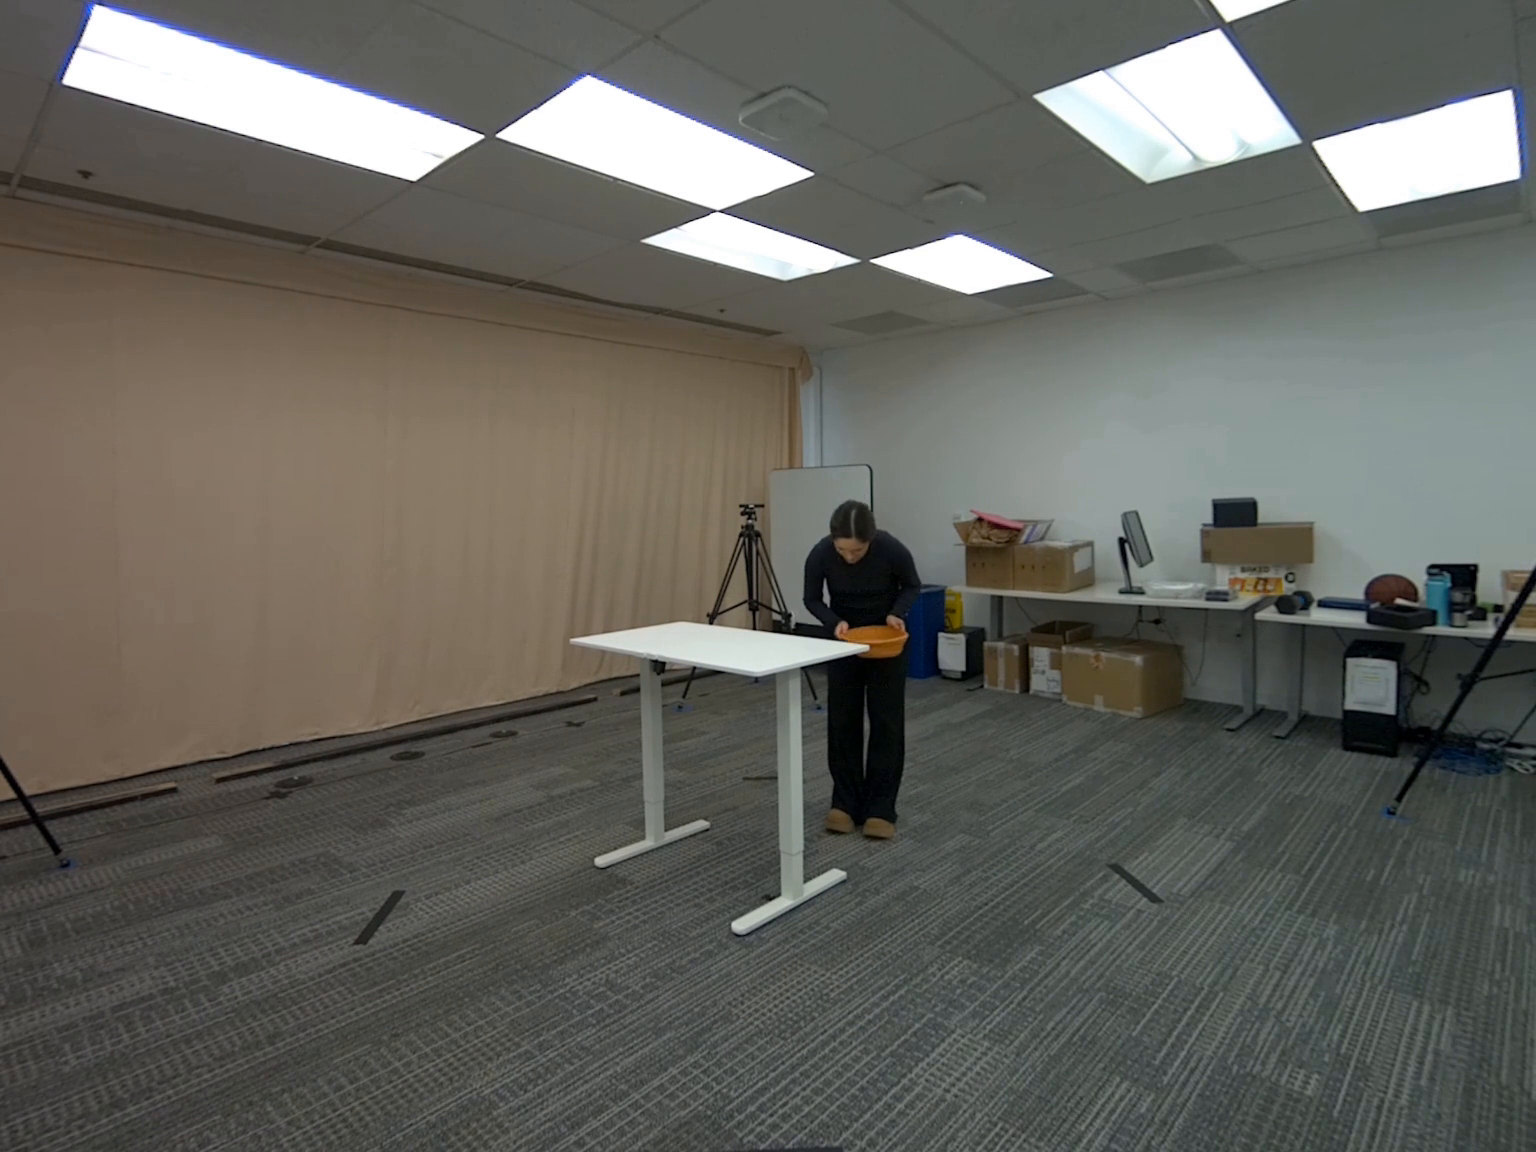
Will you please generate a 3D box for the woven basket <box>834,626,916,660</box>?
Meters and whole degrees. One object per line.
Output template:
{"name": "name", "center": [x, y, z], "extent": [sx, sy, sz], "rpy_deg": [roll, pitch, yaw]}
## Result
{"name": "woven basket", "center": [0.411, 0.262, 3.349], "extent": [0.252, 0.073, 0.352], "rpy_deg": [-4, 6, -2]}
